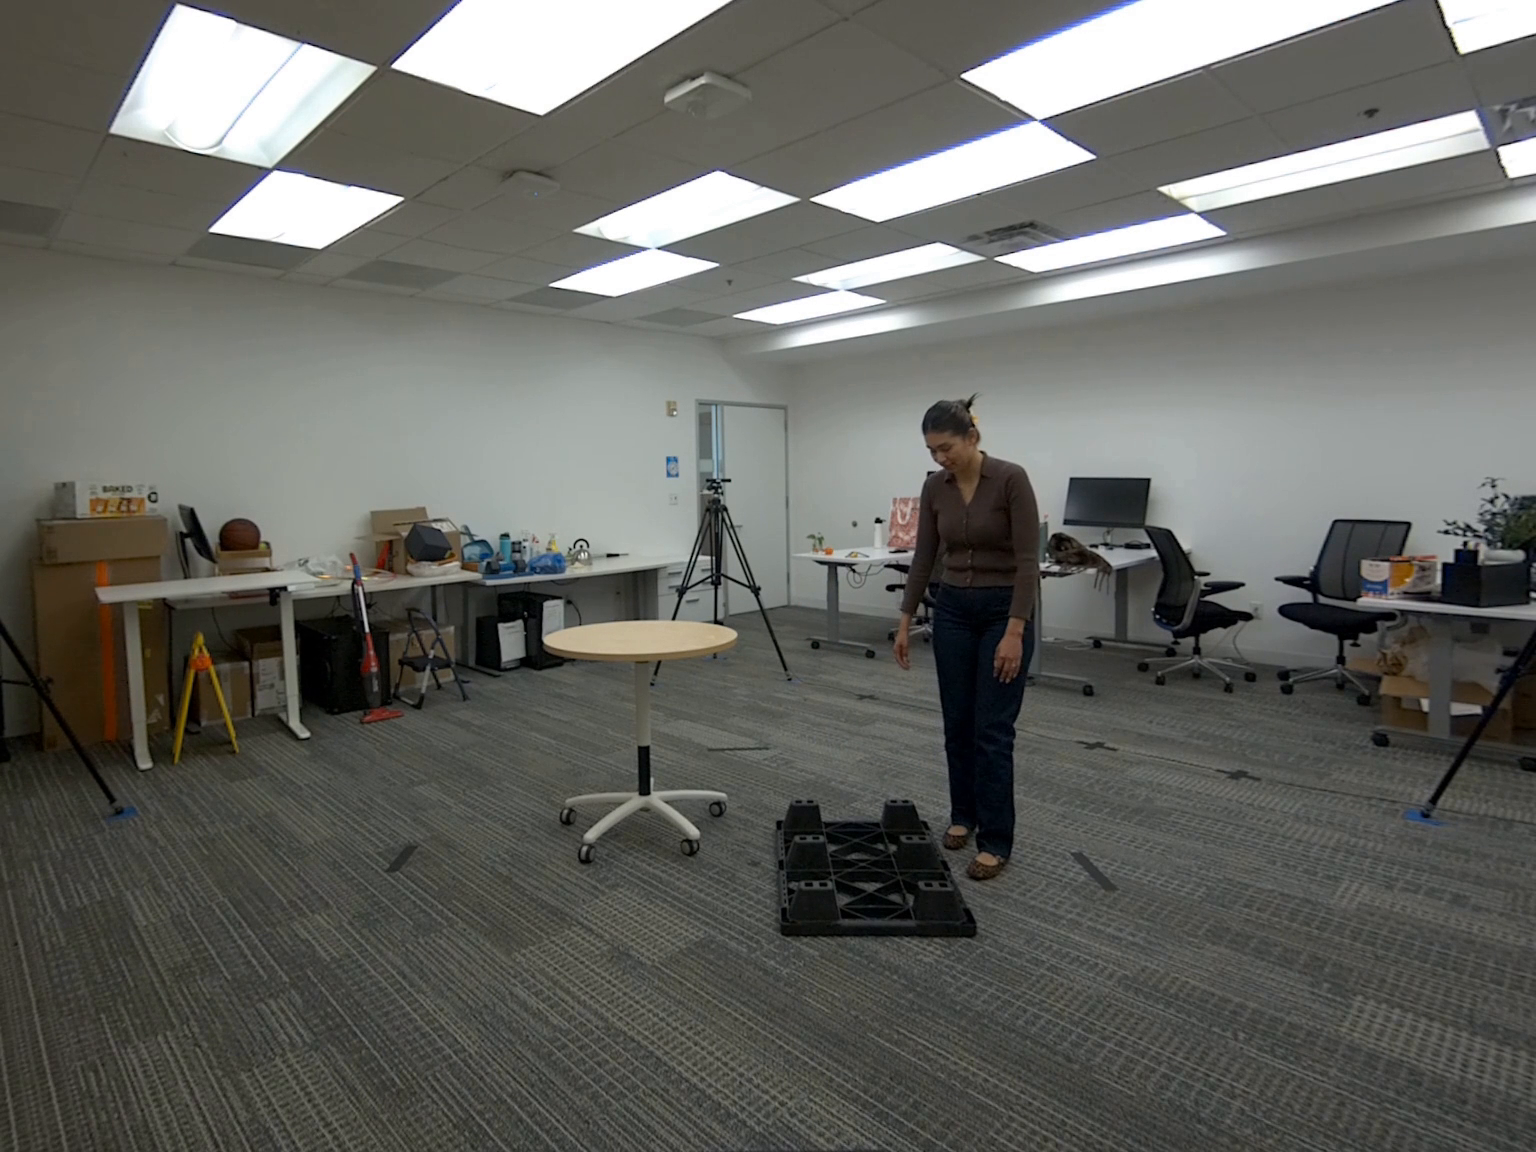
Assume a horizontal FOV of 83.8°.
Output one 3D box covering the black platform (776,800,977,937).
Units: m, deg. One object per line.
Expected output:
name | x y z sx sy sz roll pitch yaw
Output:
black platform | 0.336 0.983 2.981 0.606 0.142 0.809 -2 7 0
